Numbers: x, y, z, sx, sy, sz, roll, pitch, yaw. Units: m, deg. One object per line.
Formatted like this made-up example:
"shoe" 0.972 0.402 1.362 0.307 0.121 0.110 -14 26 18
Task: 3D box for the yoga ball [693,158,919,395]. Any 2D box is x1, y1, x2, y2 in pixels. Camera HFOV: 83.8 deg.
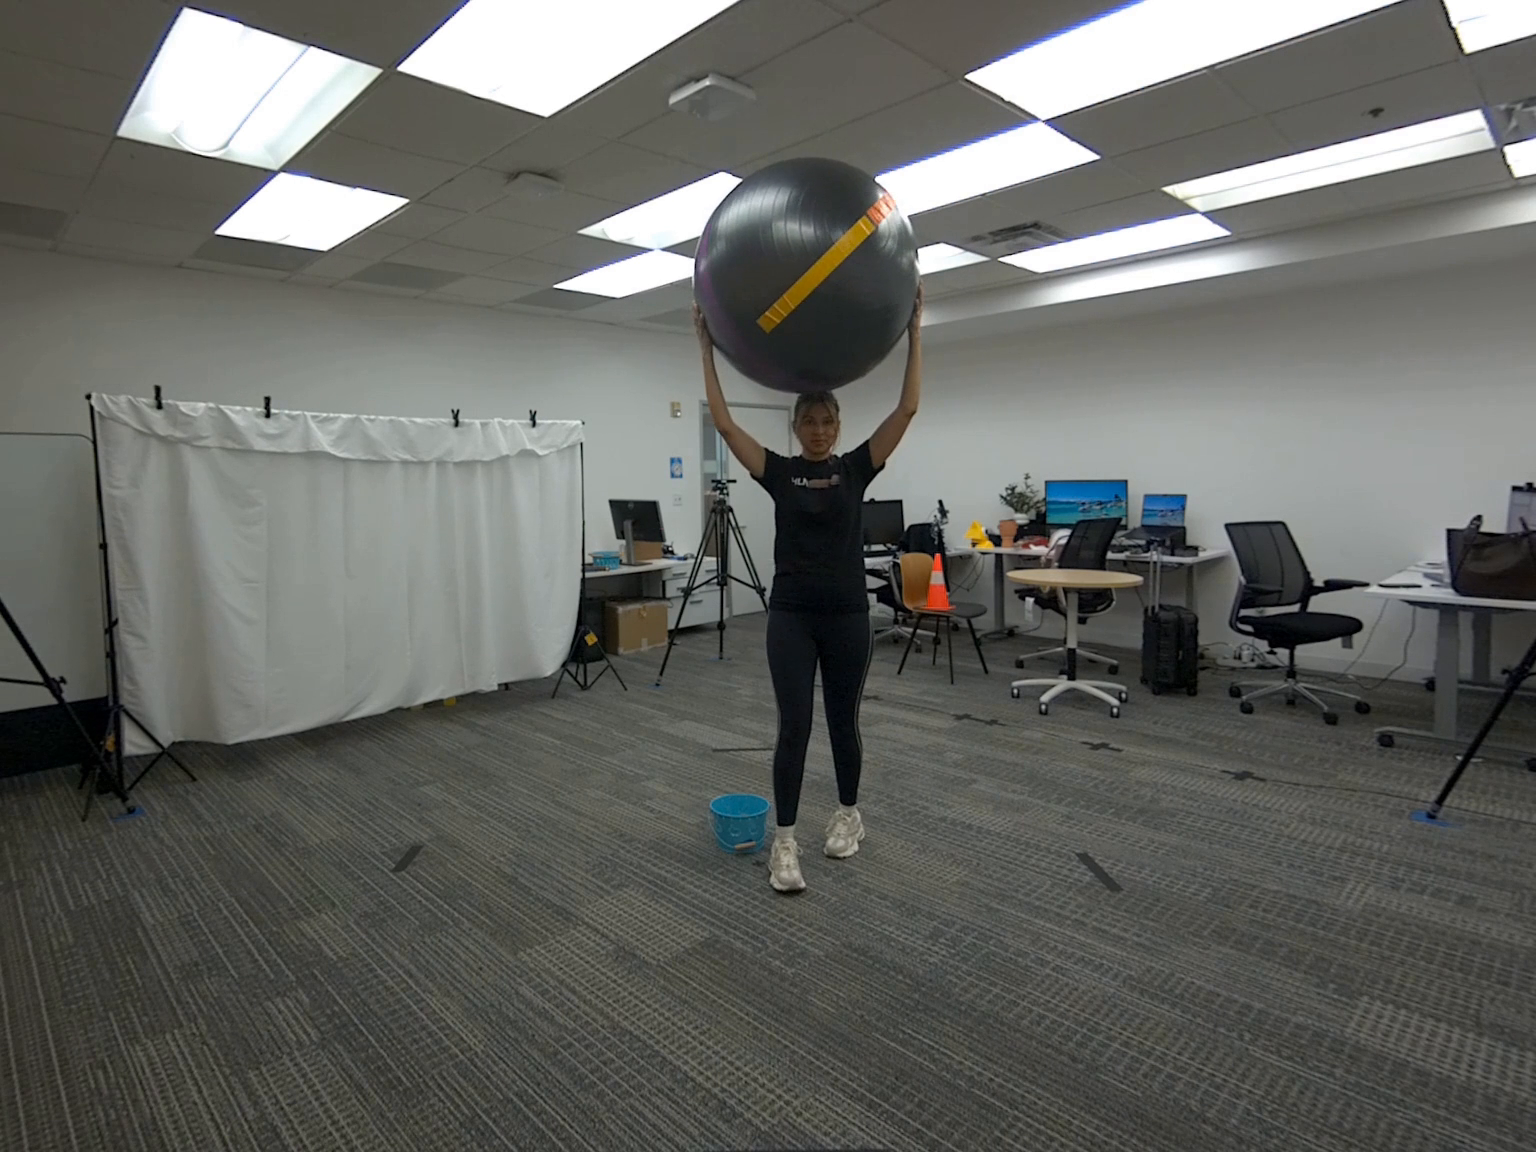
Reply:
"yoga ball" 0.128 -0.988 2.867 0.757 0.755 0.762 -1 5 -2
